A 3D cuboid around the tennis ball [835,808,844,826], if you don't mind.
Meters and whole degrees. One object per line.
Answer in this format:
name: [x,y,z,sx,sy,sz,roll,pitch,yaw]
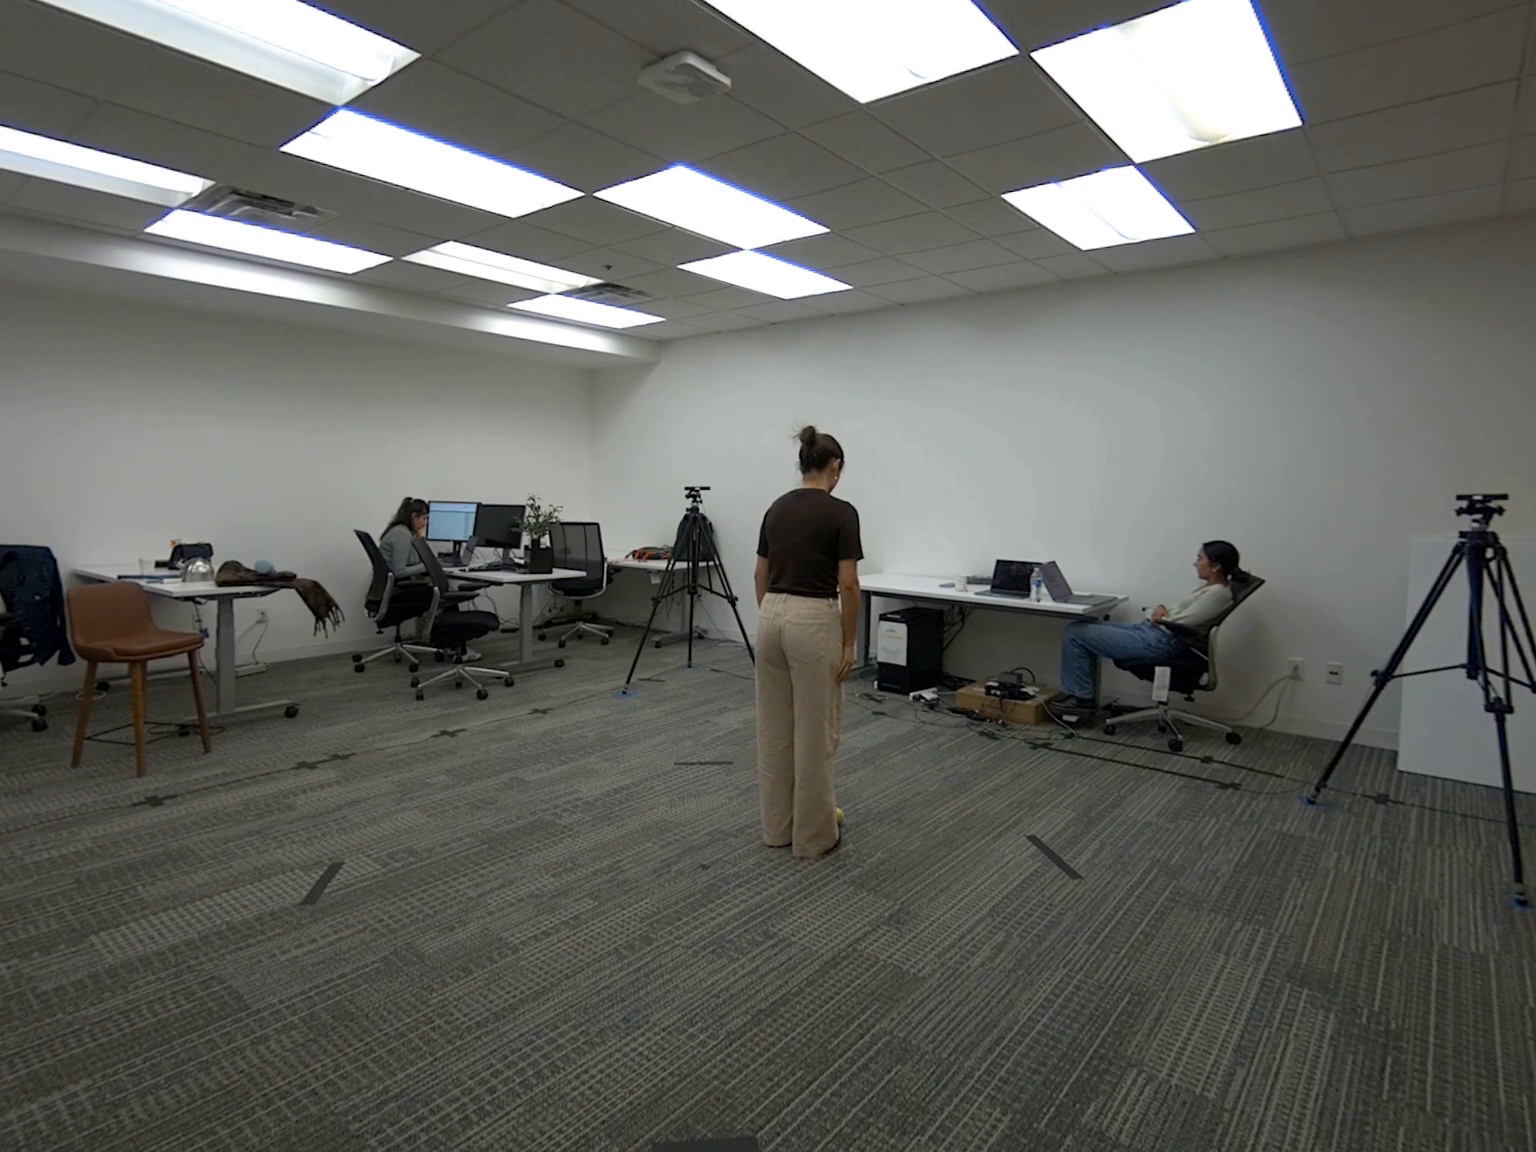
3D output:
tennis ball: [0.263,0.975,3.531,0.066,0.066,0.067,1,4,-2]
